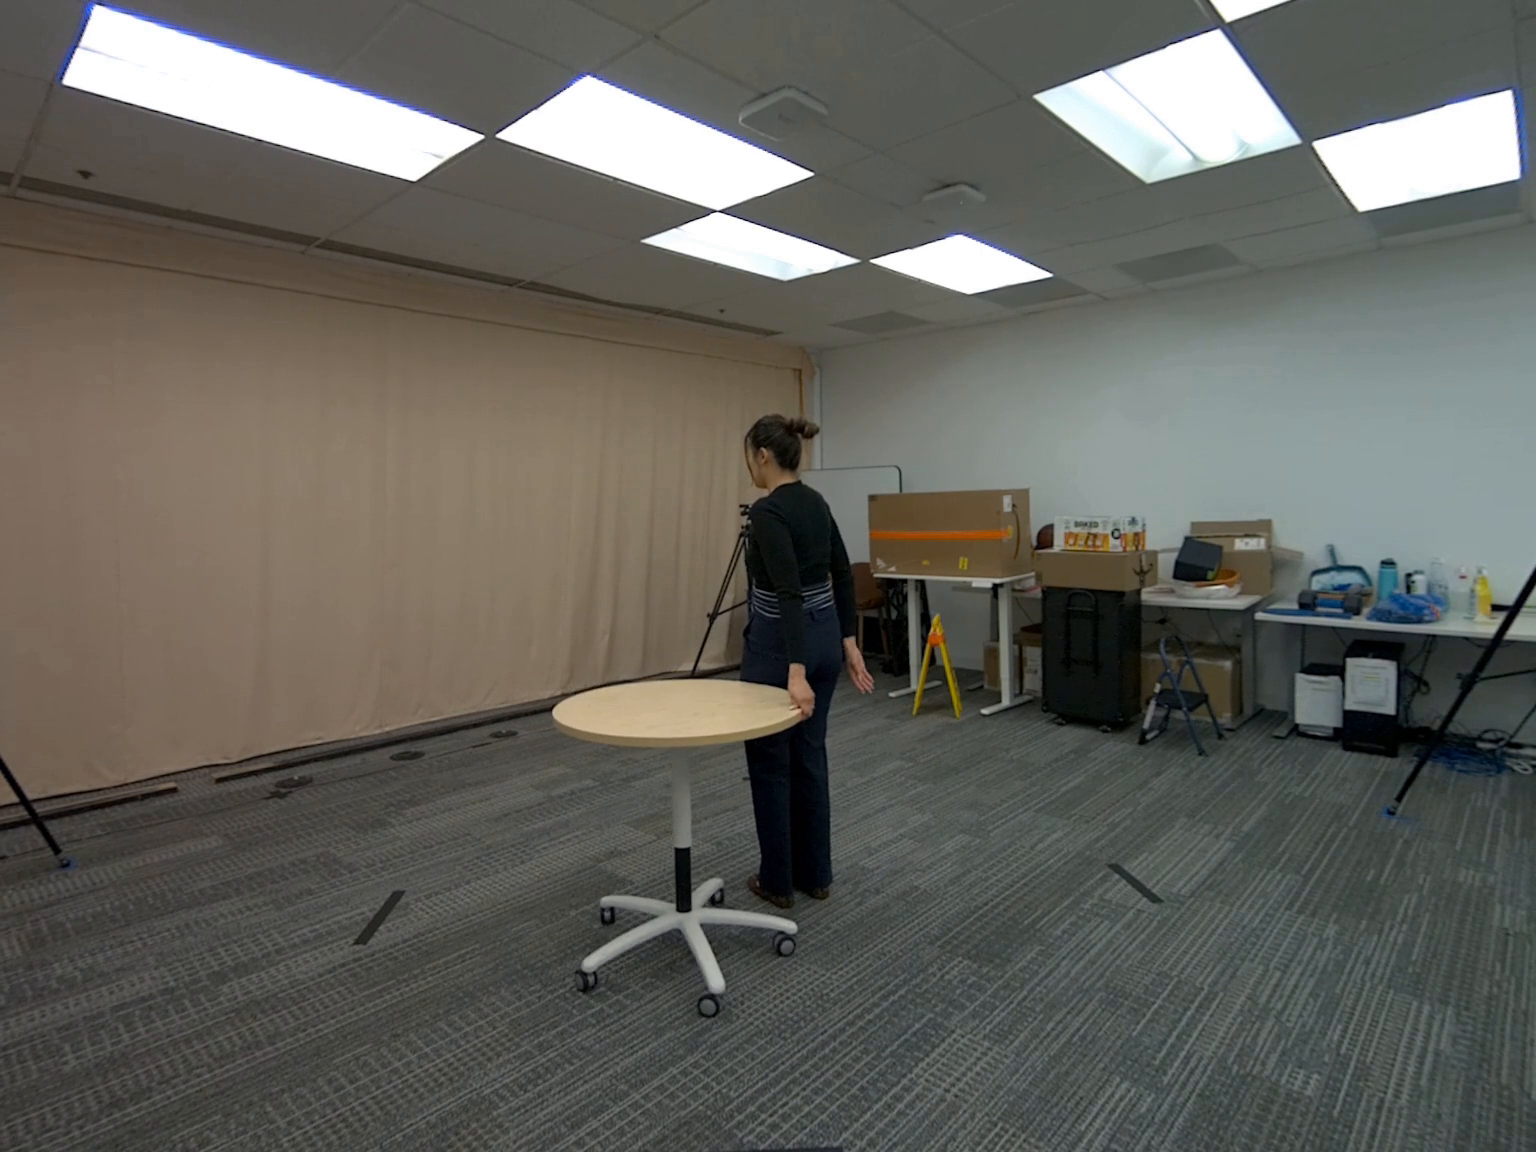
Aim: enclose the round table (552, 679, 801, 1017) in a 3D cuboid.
[{"bbox_3d":[-0.271,0.790,2.599,0.763,0.792,0.767,-1,4,-2],"label":"round table"}]
